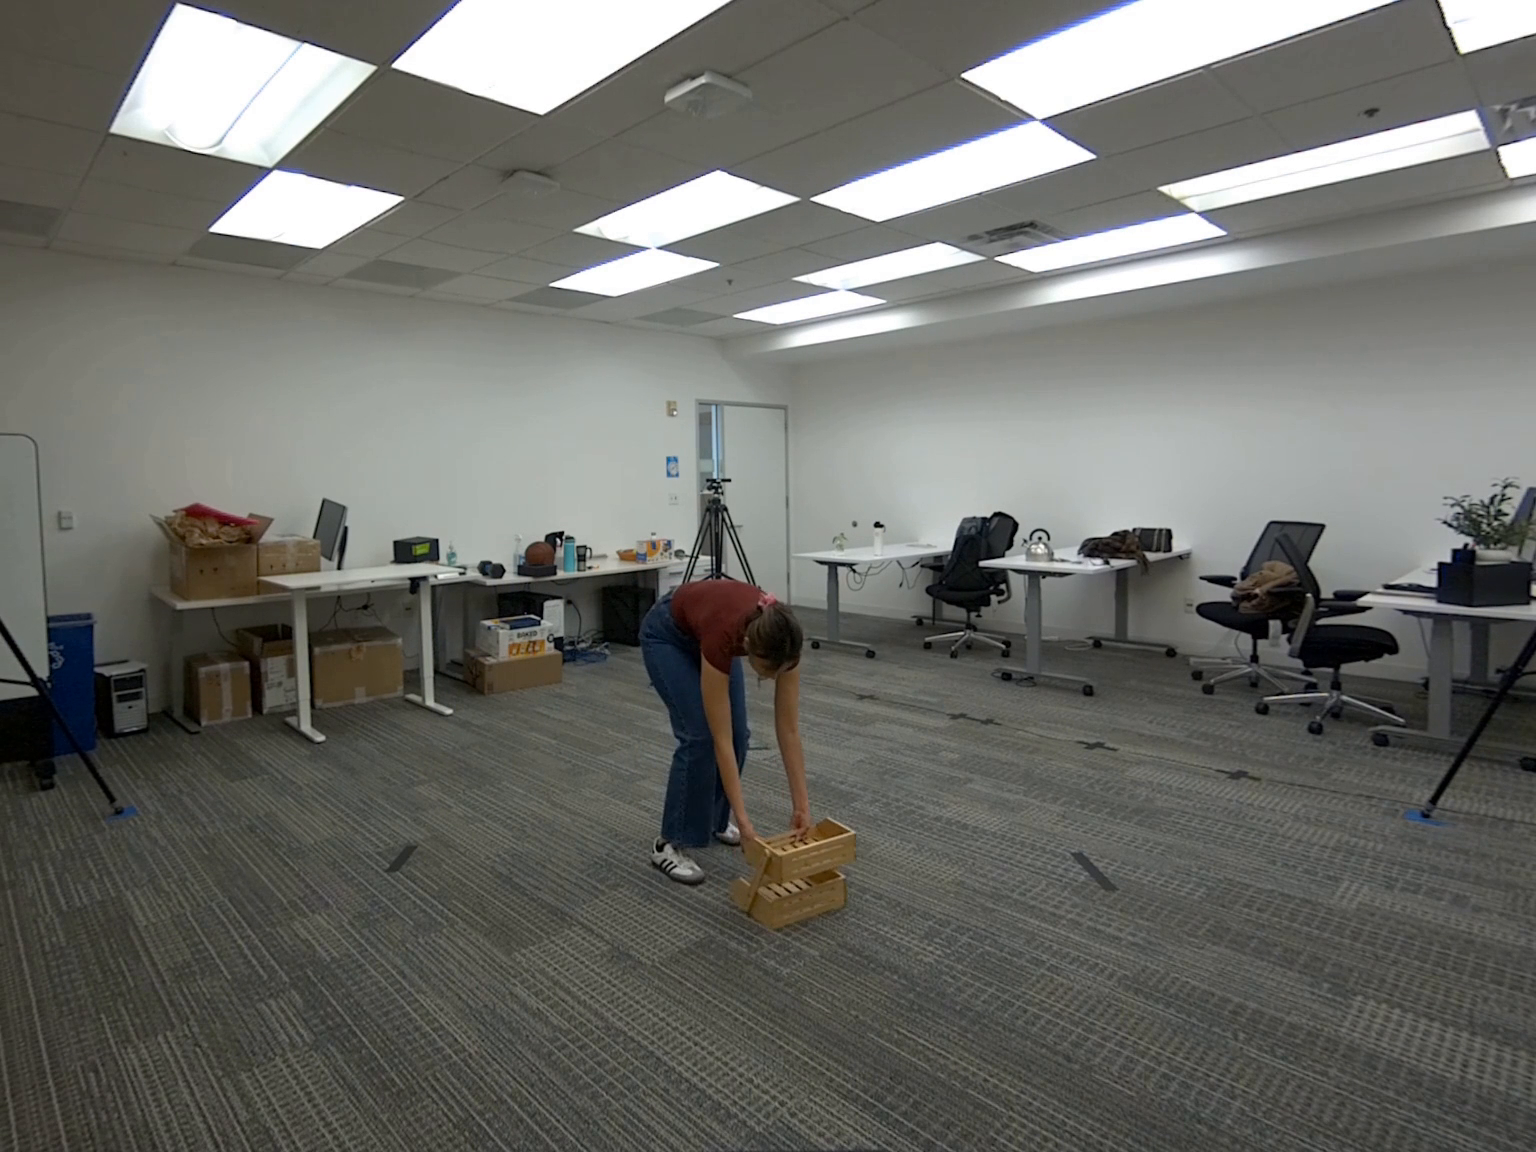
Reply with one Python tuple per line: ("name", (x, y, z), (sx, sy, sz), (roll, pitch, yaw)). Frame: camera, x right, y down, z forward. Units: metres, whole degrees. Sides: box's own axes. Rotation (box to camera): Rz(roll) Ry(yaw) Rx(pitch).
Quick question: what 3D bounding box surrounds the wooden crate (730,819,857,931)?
("wooden crate", (0.085, 0.944, 2.792), (0.316, 0.272, 0.311), (-5, 7, -33))
